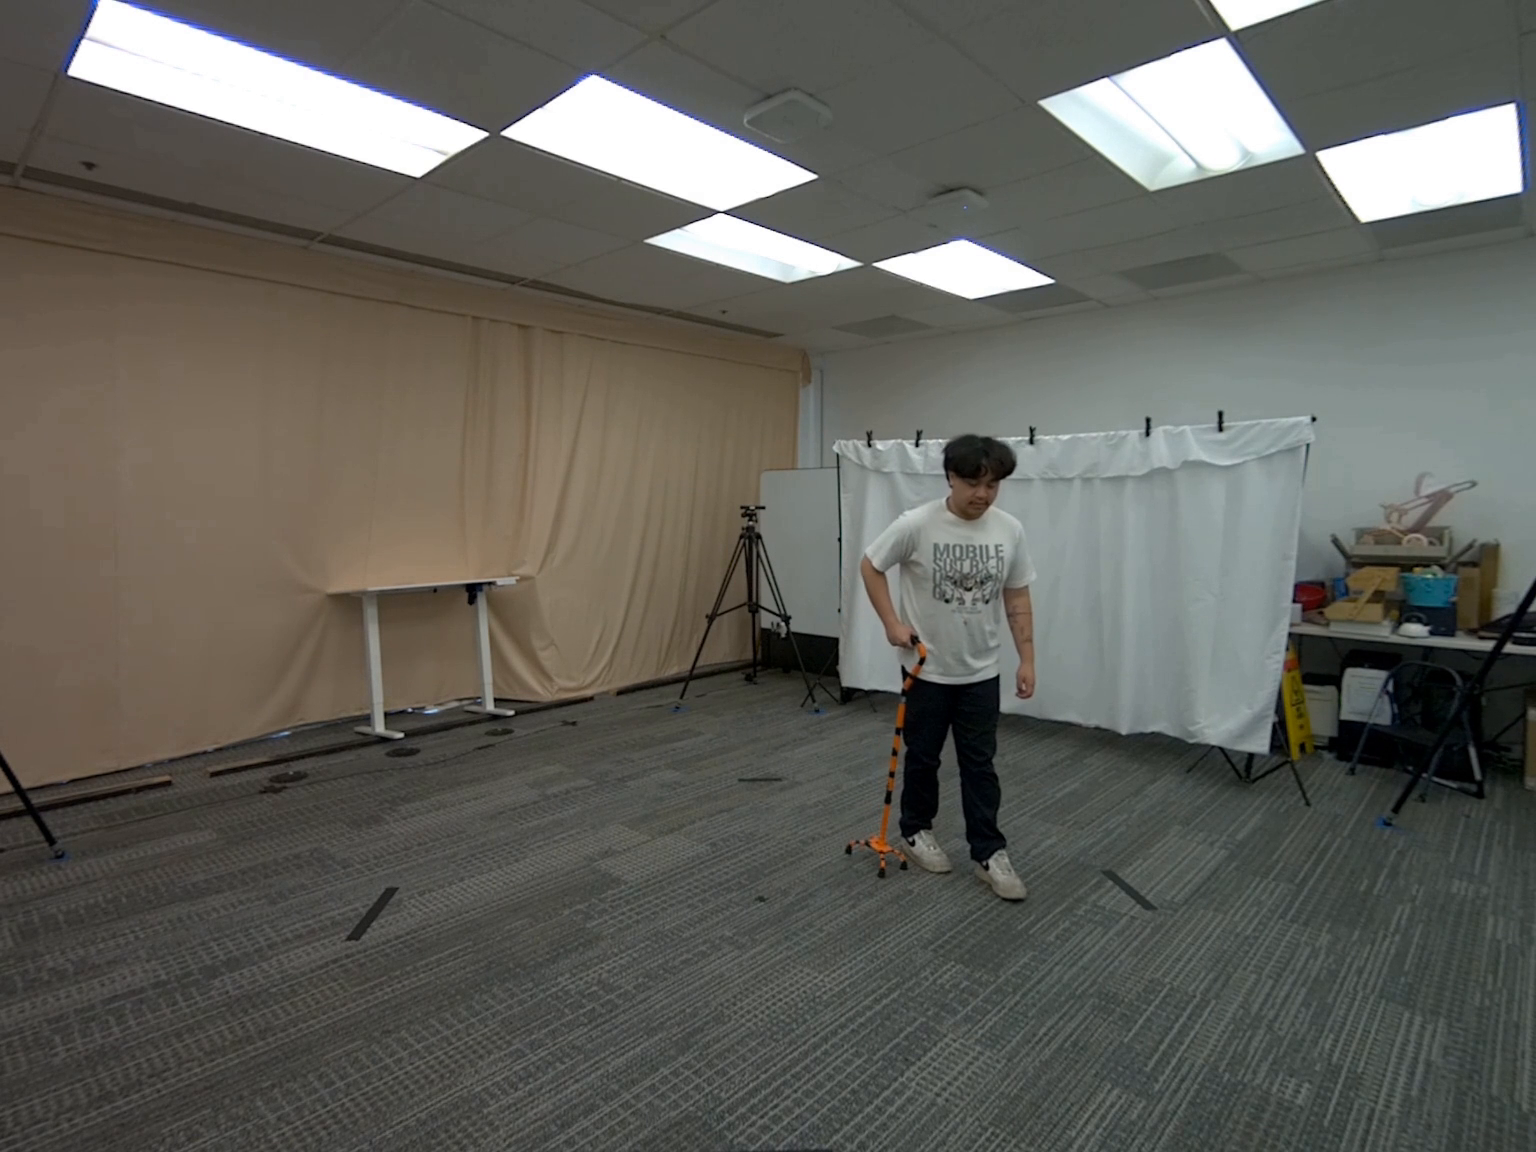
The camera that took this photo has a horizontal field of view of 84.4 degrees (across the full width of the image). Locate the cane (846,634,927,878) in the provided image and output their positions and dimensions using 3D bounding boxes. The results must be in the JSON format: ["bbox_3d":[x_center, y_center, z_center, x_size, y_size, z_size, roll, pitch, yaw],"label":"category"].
[{"bbox_3d":[0.465,0.667,3.170,0.147,0.902,0.213,-3,13,-34],"label":"cane"}]
